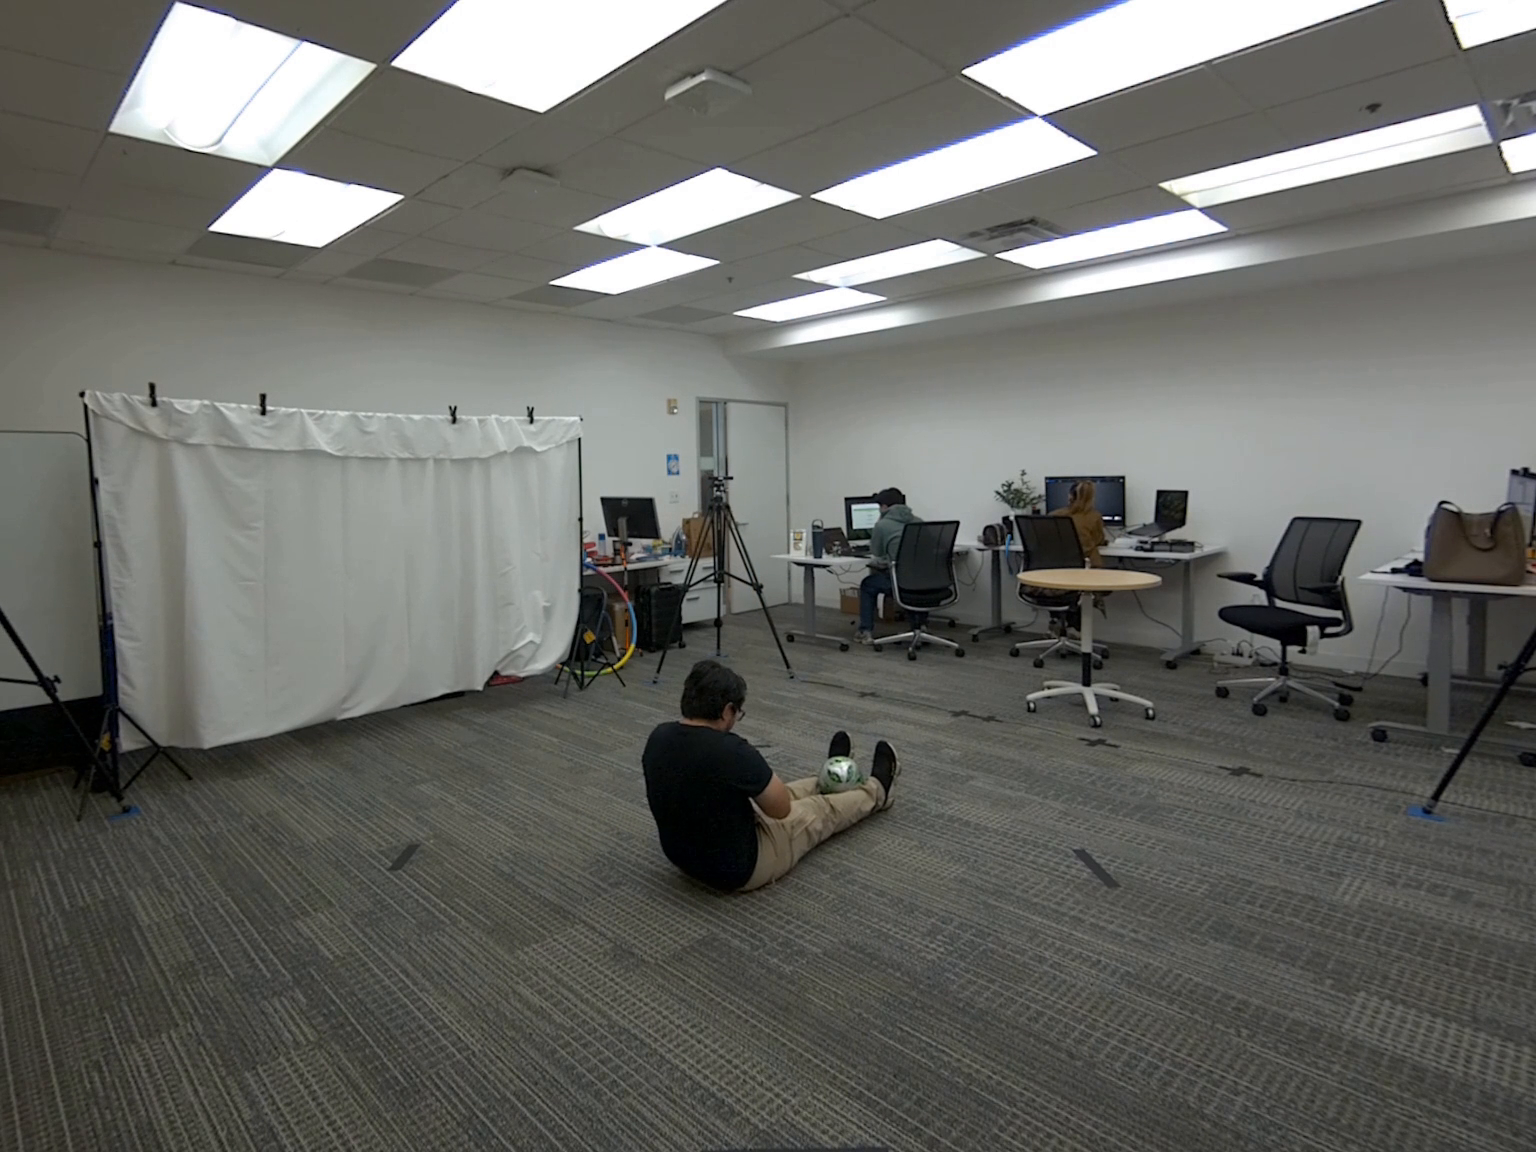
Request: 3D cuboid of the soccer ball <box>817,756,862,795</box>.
[{"bbox_3d":[0.305,0.841,3.519,0.187,0.187,0.188,-1,4,-2],"label":"soccer ball"}]
